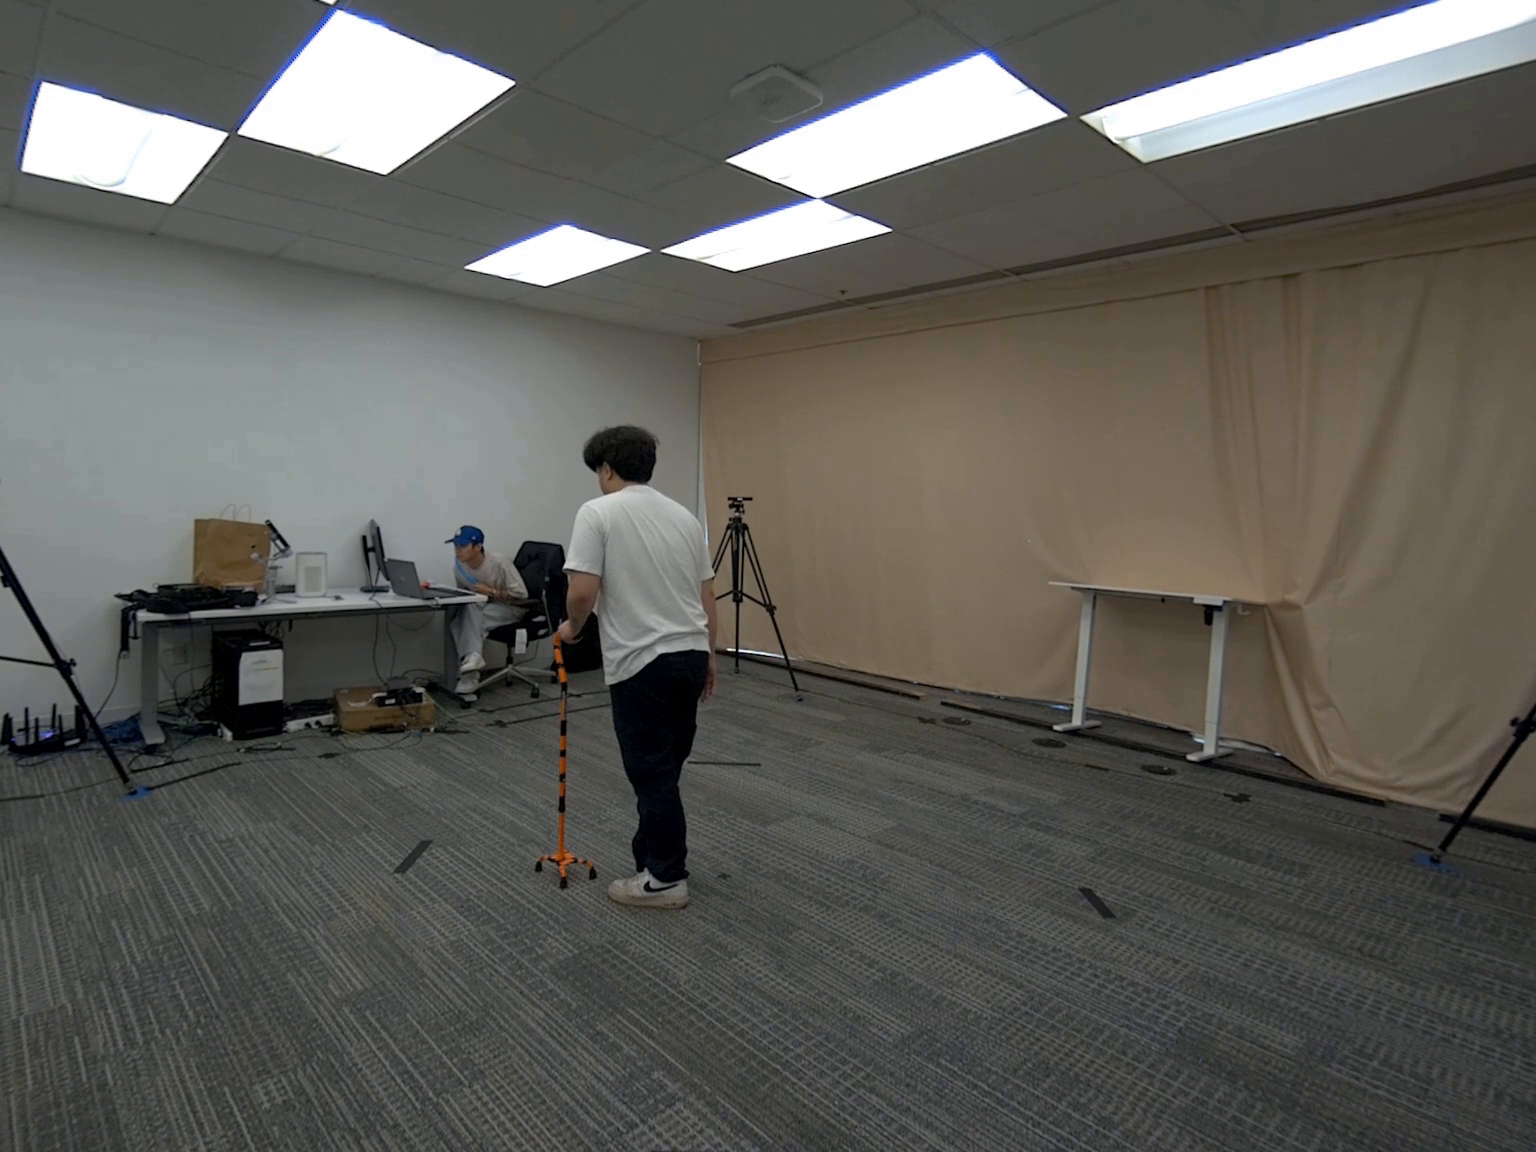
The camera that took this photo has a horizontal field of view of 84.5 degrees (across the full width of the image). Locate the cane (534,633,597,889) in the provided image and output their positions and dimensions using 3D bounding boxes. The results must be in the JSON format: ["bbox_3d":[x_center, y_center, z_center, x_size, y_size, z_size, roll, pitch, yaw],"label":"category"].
[{"bbox_3d":[-0.737,0.639,3.075,0.148,0.907,0.211,-1,2,-41],"label":"cane"}]
